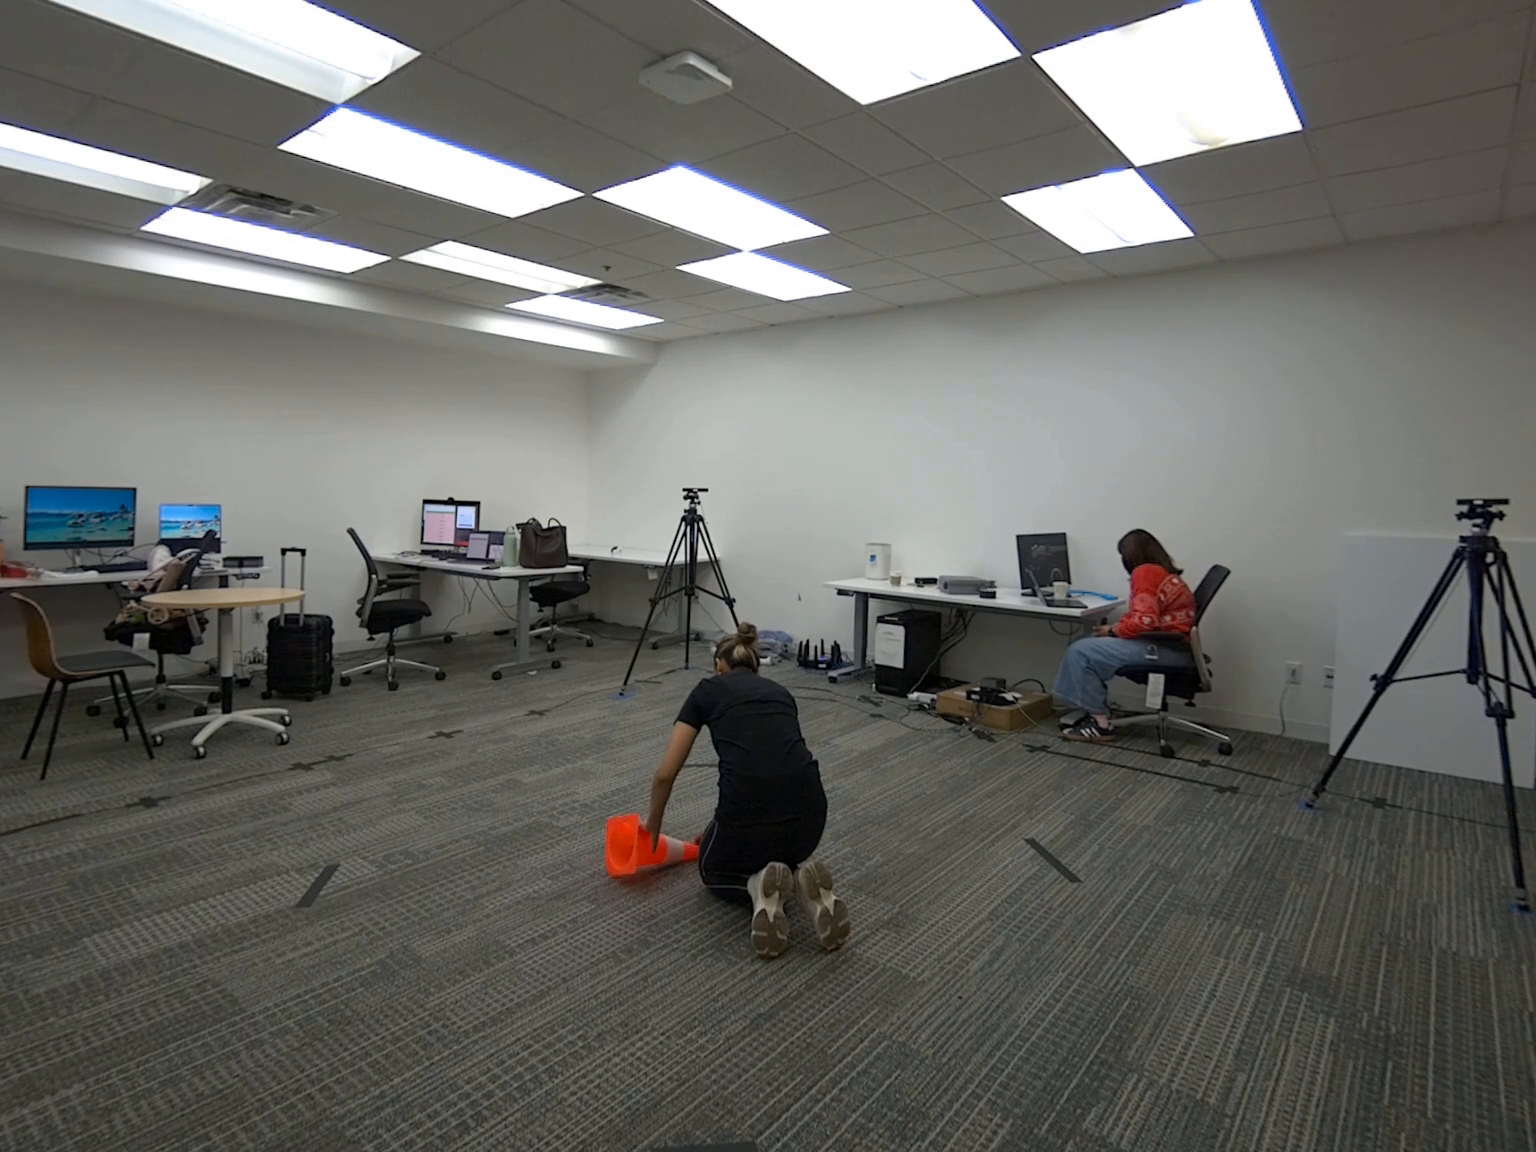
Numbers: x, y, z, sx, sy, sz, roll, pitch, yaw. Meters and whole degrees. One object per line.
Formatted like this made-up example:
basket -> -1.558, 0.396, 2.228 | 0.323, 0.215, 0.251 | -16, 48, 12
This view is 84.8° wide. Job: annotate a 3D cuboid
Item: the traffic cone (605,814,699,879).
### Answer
traffic cone -> -0.395, 1.010, 3.130 | 0.369, 0.208, 0.208 | 21, -31, -37
